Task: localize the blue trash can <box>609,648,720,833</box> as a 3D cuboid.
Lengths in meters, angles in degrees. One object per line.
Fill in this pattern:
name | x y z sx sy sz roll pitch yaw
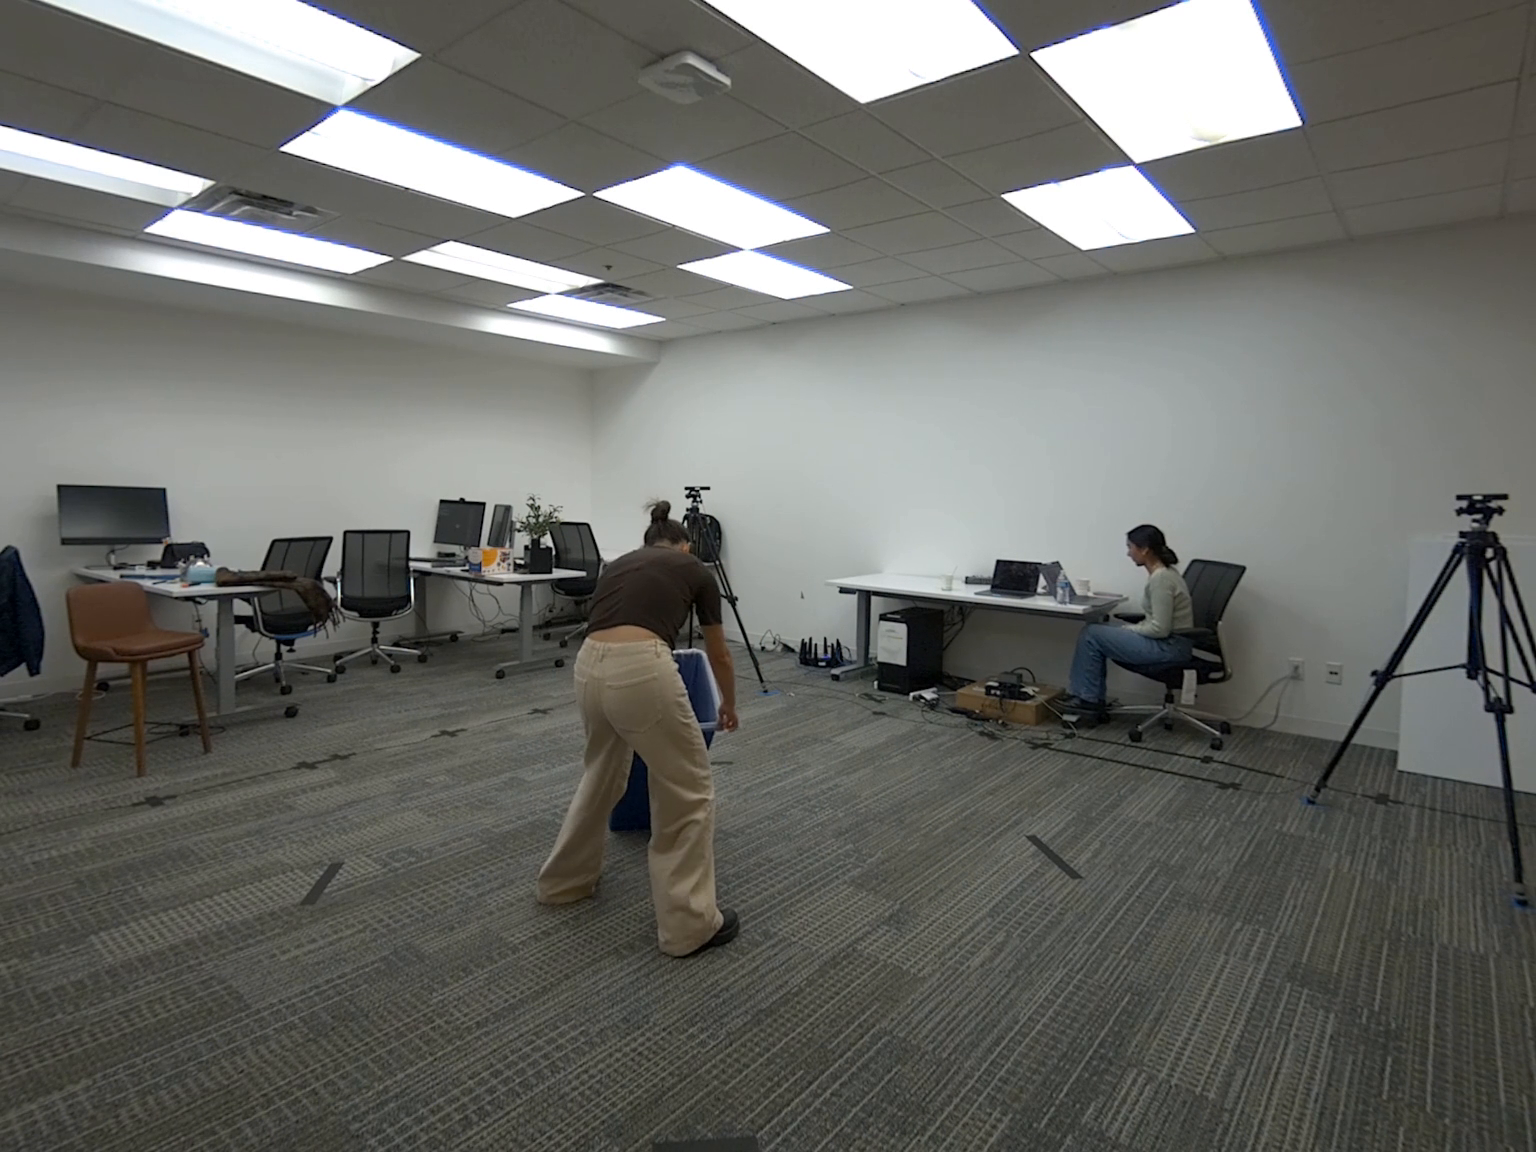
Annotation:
blue trash can | -0.454 0.666 3.337 0.371 0.699 0.388 -1 42 -19
